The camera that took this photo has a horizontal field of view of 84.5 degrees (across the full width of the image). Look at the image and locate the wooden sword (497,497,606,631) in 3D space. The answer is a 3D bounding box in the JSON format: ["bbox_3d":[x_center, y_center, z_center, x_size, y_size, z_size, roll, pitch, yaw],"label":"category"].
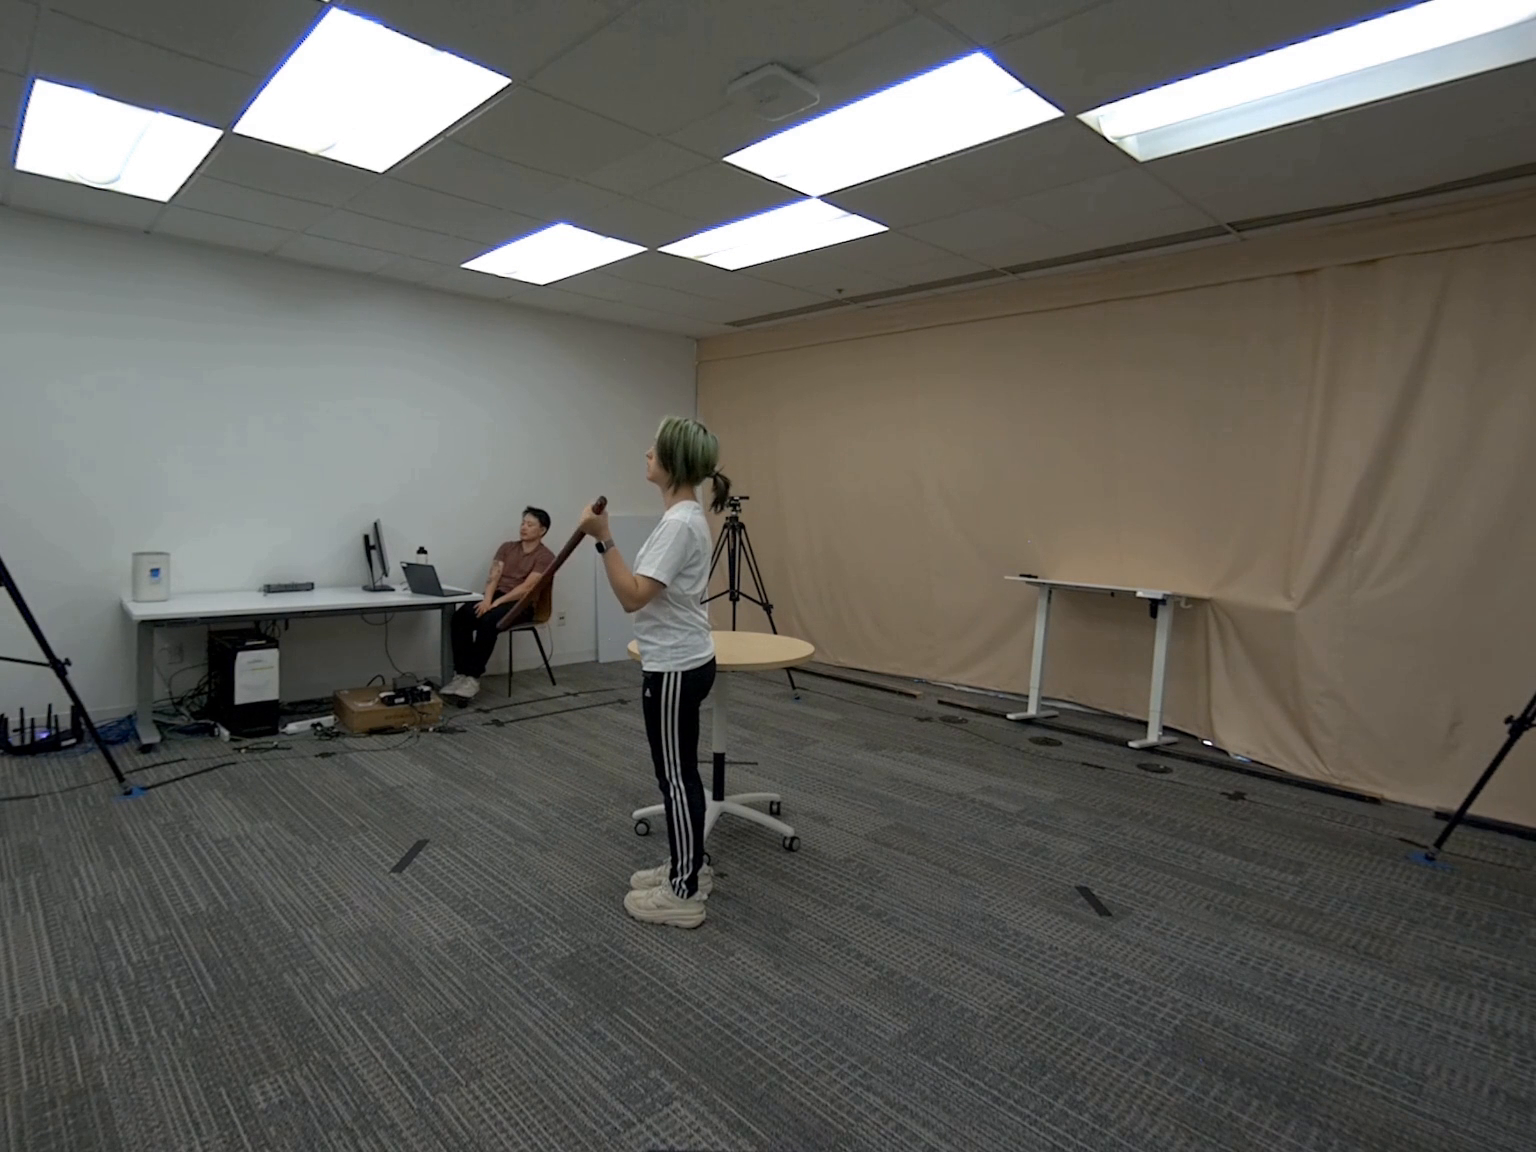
[{"bbox_3d":[-0.777,0.014,2.868,0.023,0.052,1.028,-6,-24,-41],"label":"wooden sword"}]
